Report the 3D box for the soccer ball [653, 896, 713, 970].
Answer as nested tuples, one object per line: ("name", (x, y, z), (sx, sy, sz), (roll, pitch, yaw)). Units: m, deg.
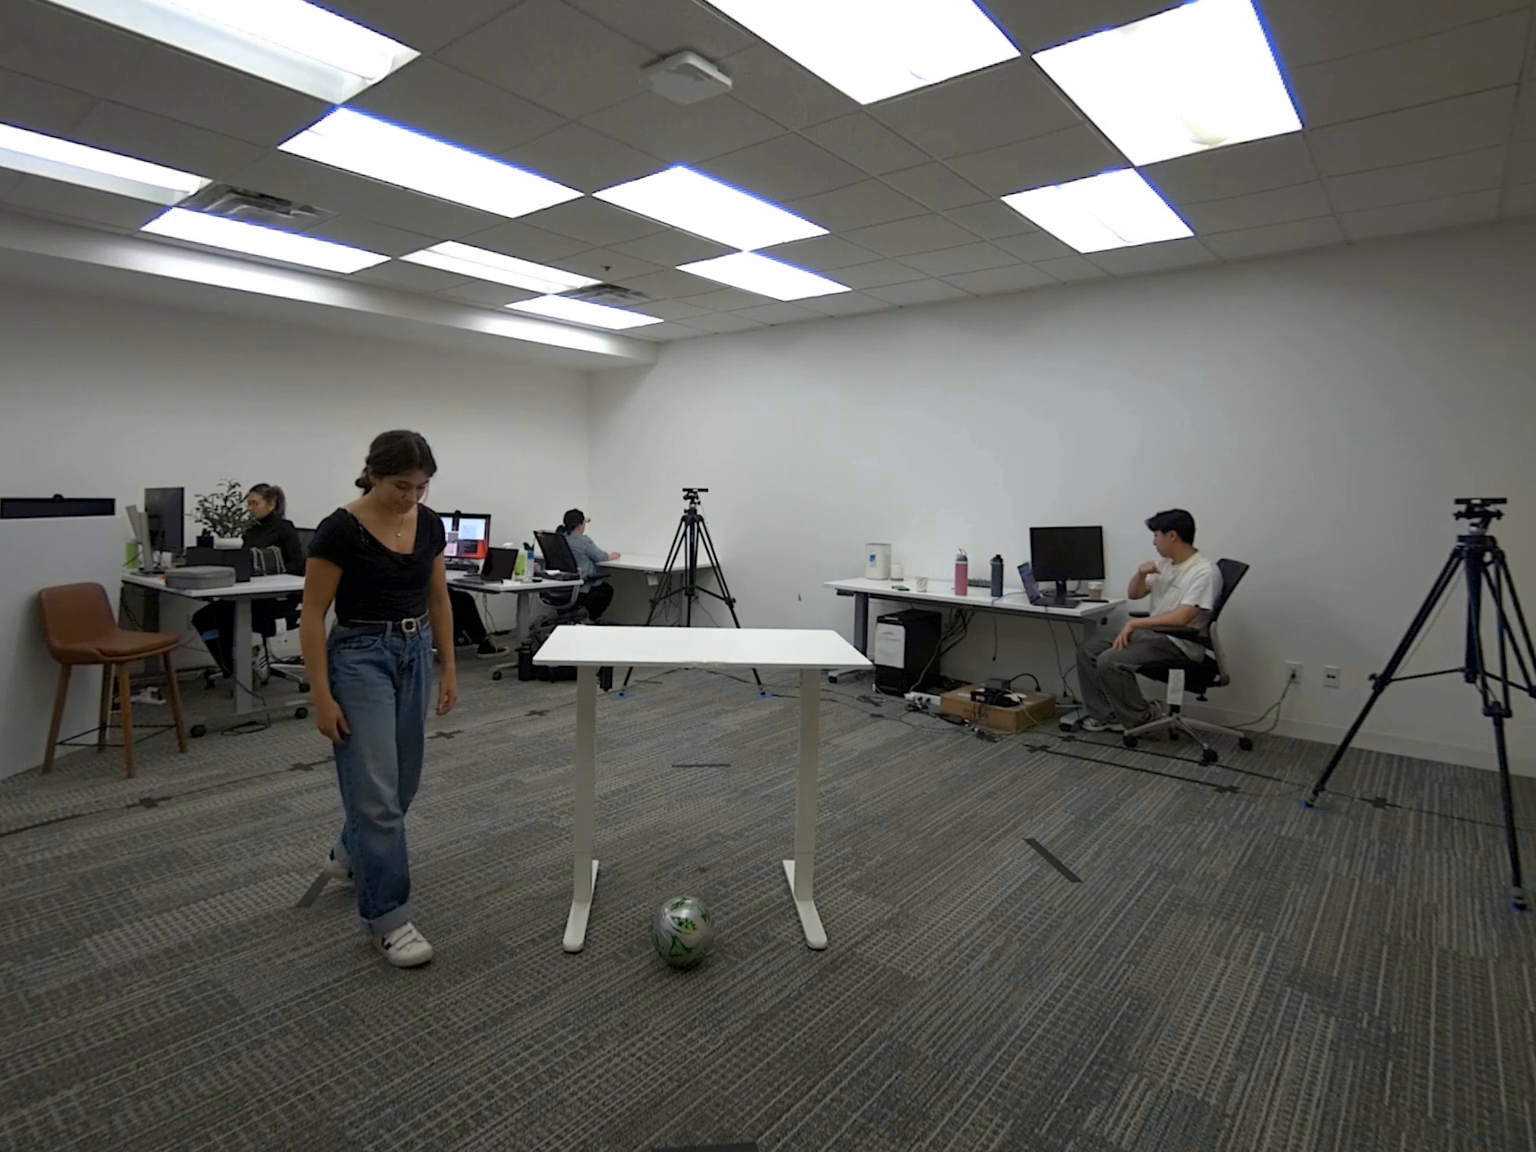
("soccer ball", (-0.254, 1.042, 2.489), (0.187, 0.187, 0.188), (1, 4, -2))
